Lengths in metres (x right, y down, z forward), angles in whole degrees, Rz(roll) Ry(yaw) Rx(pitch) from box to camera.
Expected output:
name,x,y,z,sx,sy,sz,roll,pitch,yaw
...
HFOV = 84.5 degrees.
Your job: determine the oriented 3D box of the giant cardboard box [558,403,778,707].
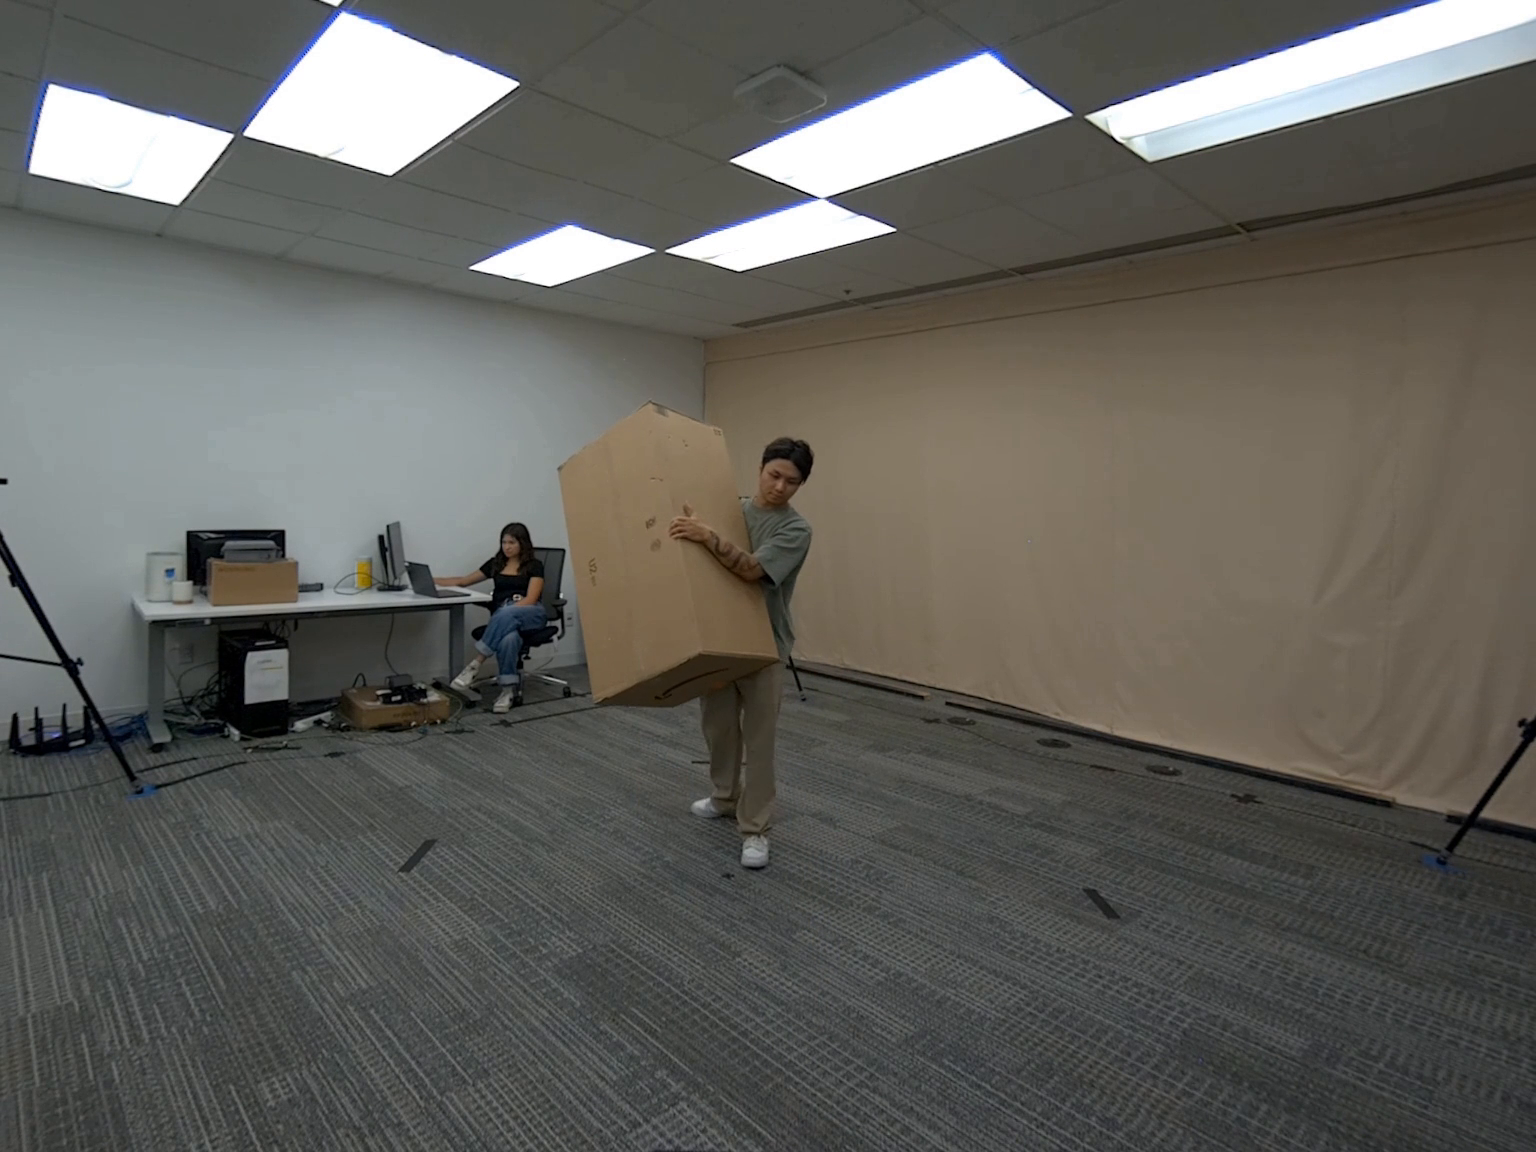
name,x,y,z,sx,sy,sz,roll,pitch,yaw
giant cardboard box,-0.422,-0.065,3.312,0.582,1.046,0.414,-29,-27,33
